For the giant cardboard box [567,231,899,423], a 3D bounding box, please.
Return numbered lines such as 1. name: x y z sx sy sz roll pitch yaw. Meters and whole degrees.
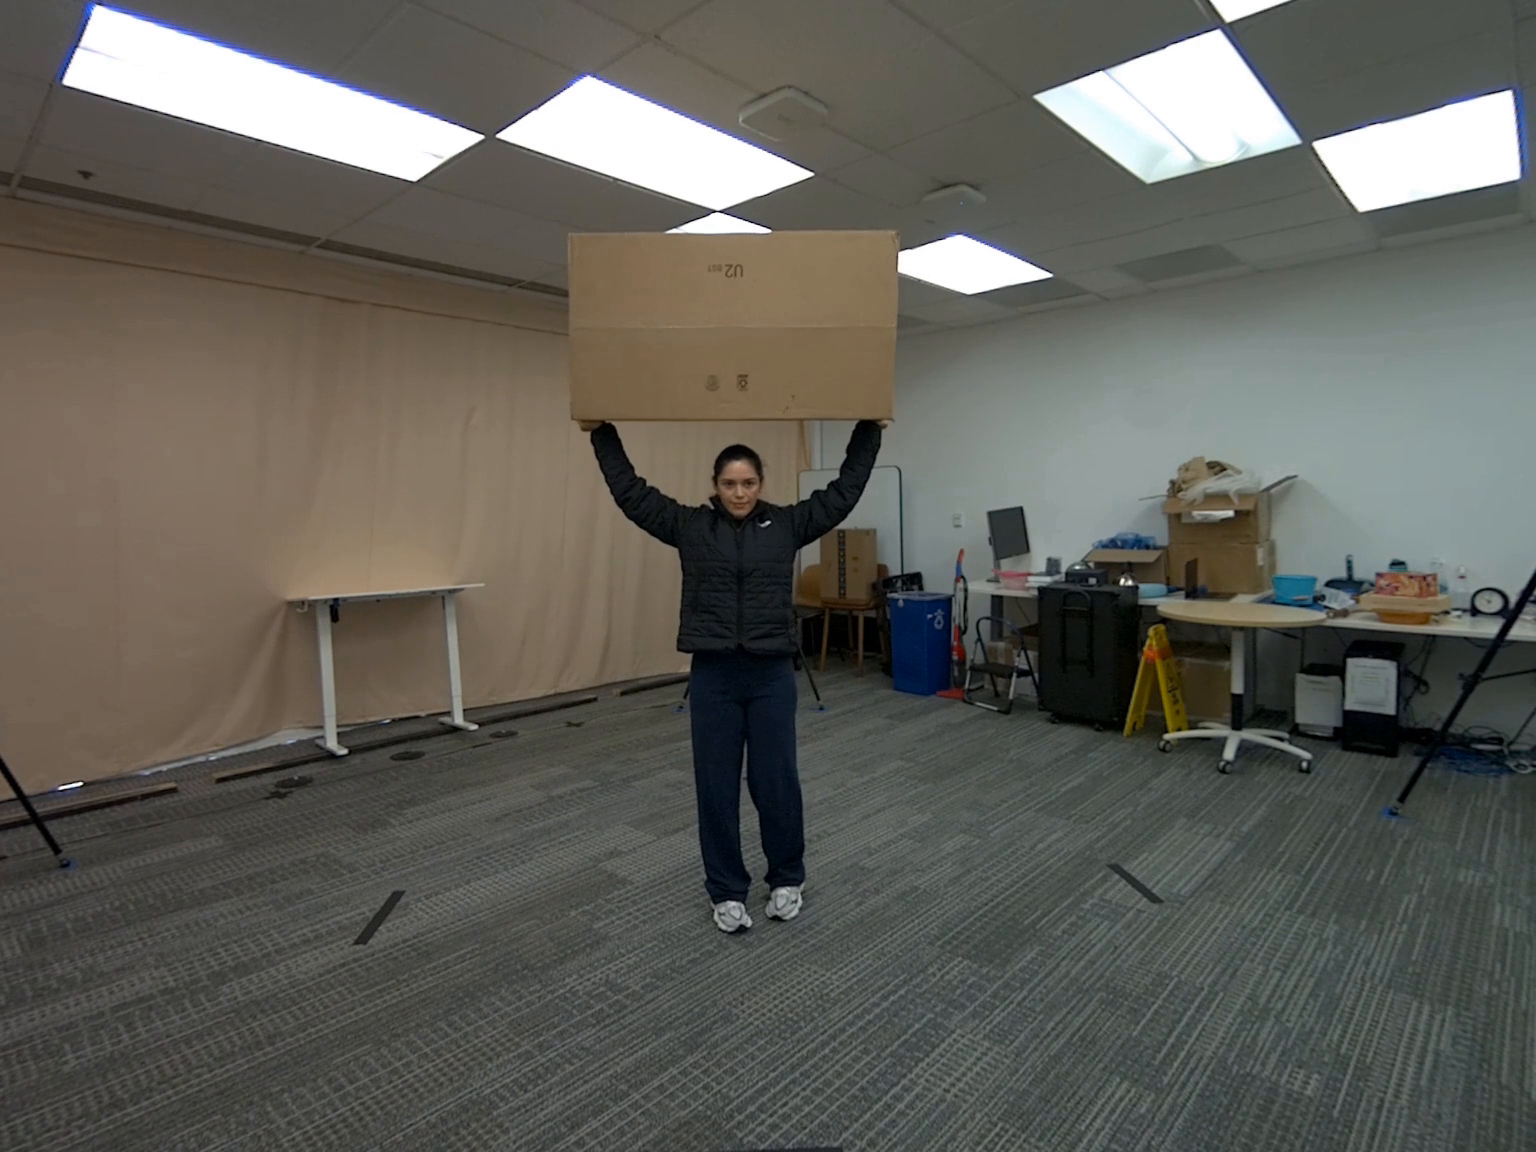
1. giant cardboard box: -0.099 -0.807 2.820 1.028 0.581 0.448 1 8 1
